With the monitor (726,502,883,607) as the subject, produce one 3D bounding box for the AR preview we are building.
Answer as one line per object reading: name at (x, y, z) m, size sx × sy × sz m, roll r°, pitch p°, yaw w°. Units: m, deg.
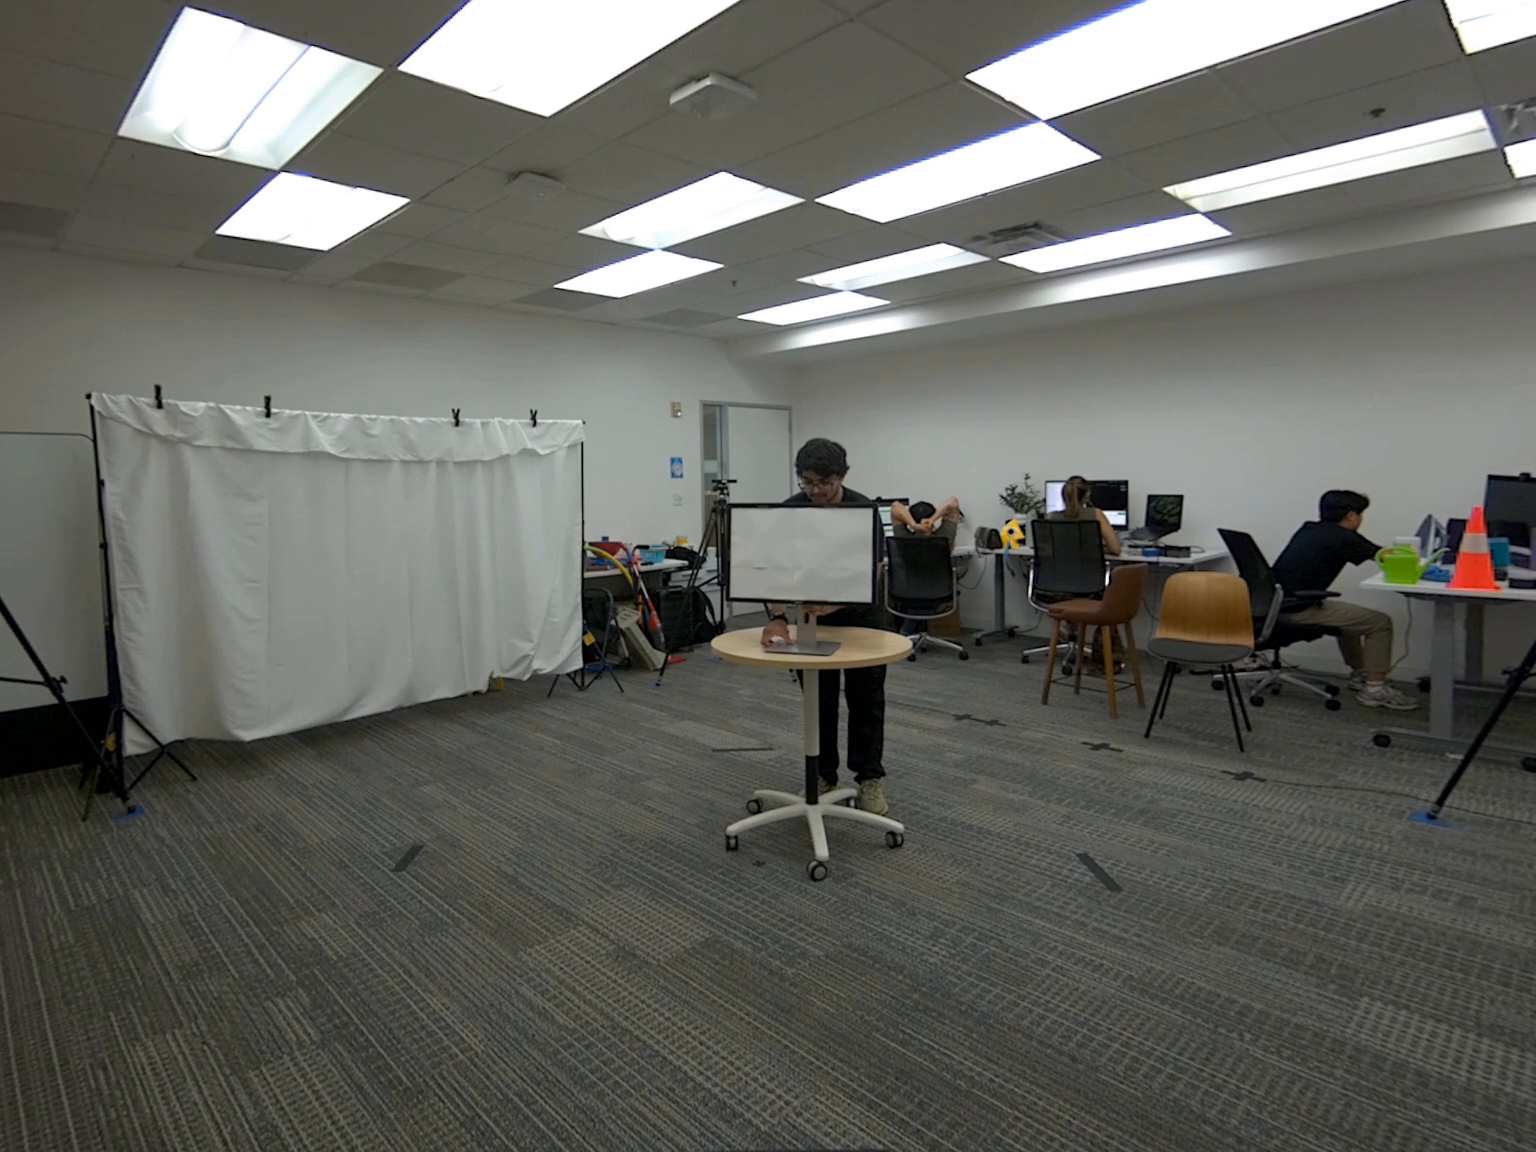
monitor at (0.134, 0.006, 3.130) m, size 0.576 × 0.553 × 0.206 m, roll 1°, pitch 2°, yaw 21°
